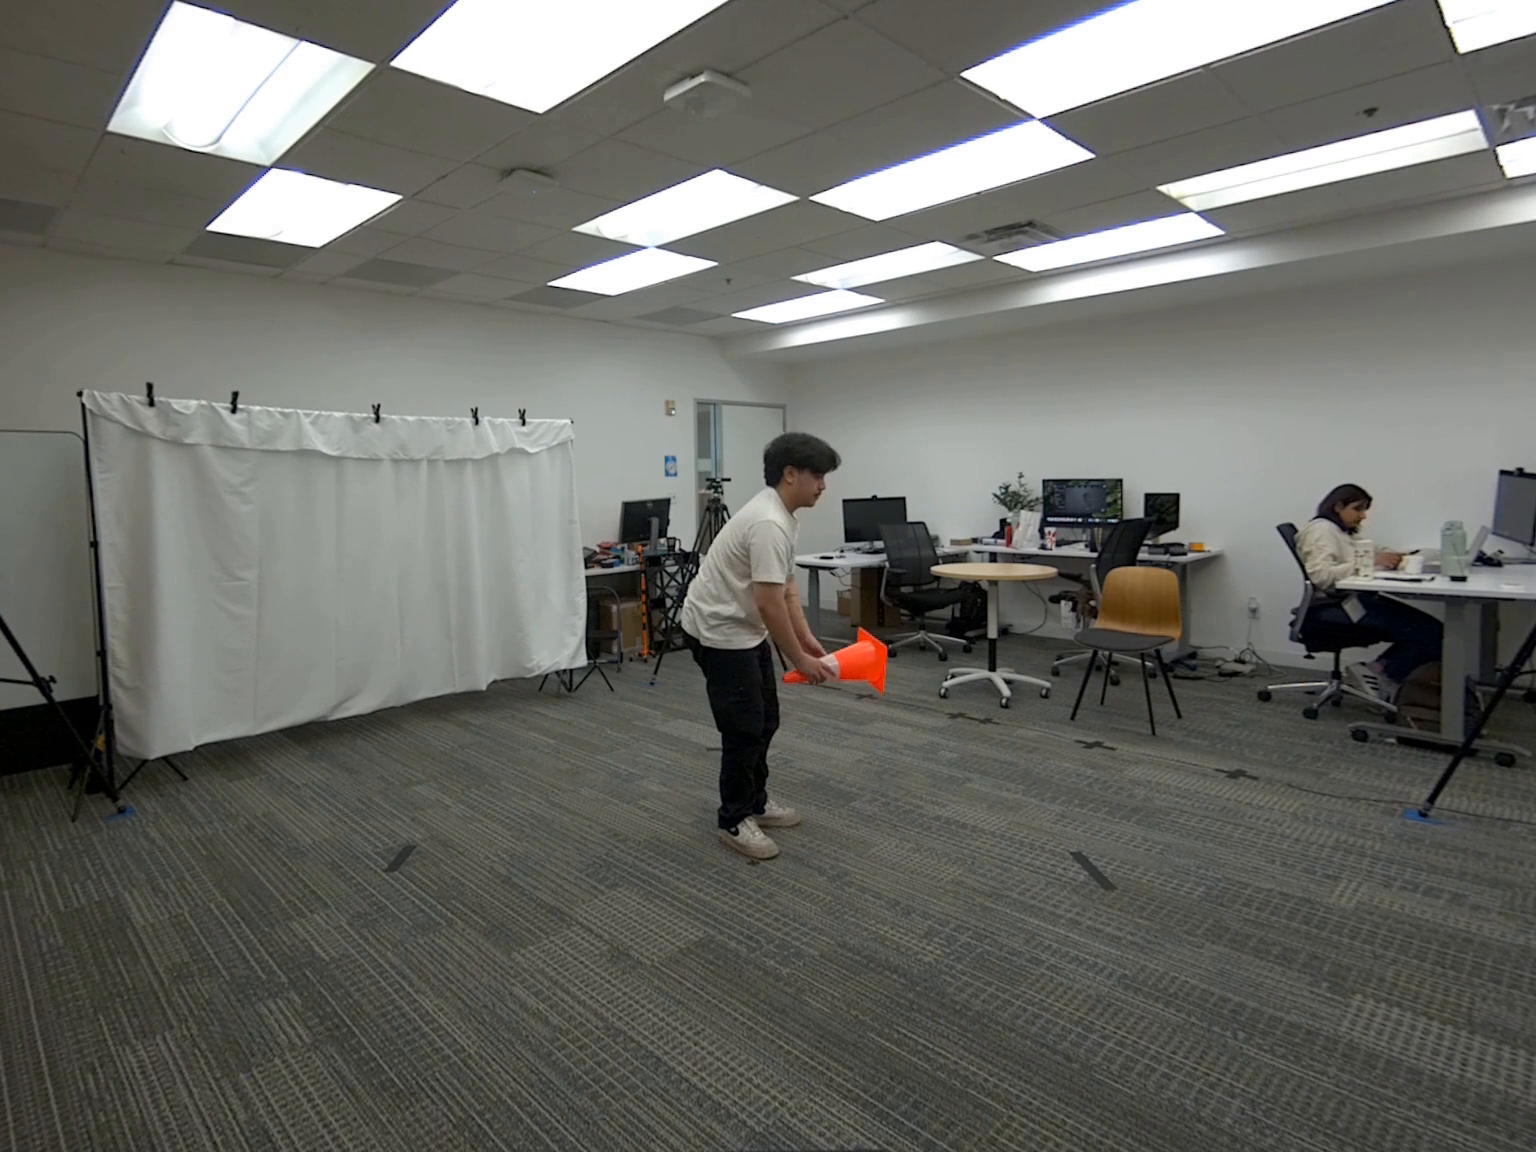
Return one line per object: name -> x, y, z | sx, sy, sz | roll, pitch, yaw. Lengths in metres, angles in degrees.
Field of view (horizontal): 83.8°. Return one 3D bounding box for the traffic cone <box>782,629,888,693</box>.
traffic cone -> 0.225, 0.361, 3.227 | 0.378, 0.199, 0.212 | -11, 23, -20
